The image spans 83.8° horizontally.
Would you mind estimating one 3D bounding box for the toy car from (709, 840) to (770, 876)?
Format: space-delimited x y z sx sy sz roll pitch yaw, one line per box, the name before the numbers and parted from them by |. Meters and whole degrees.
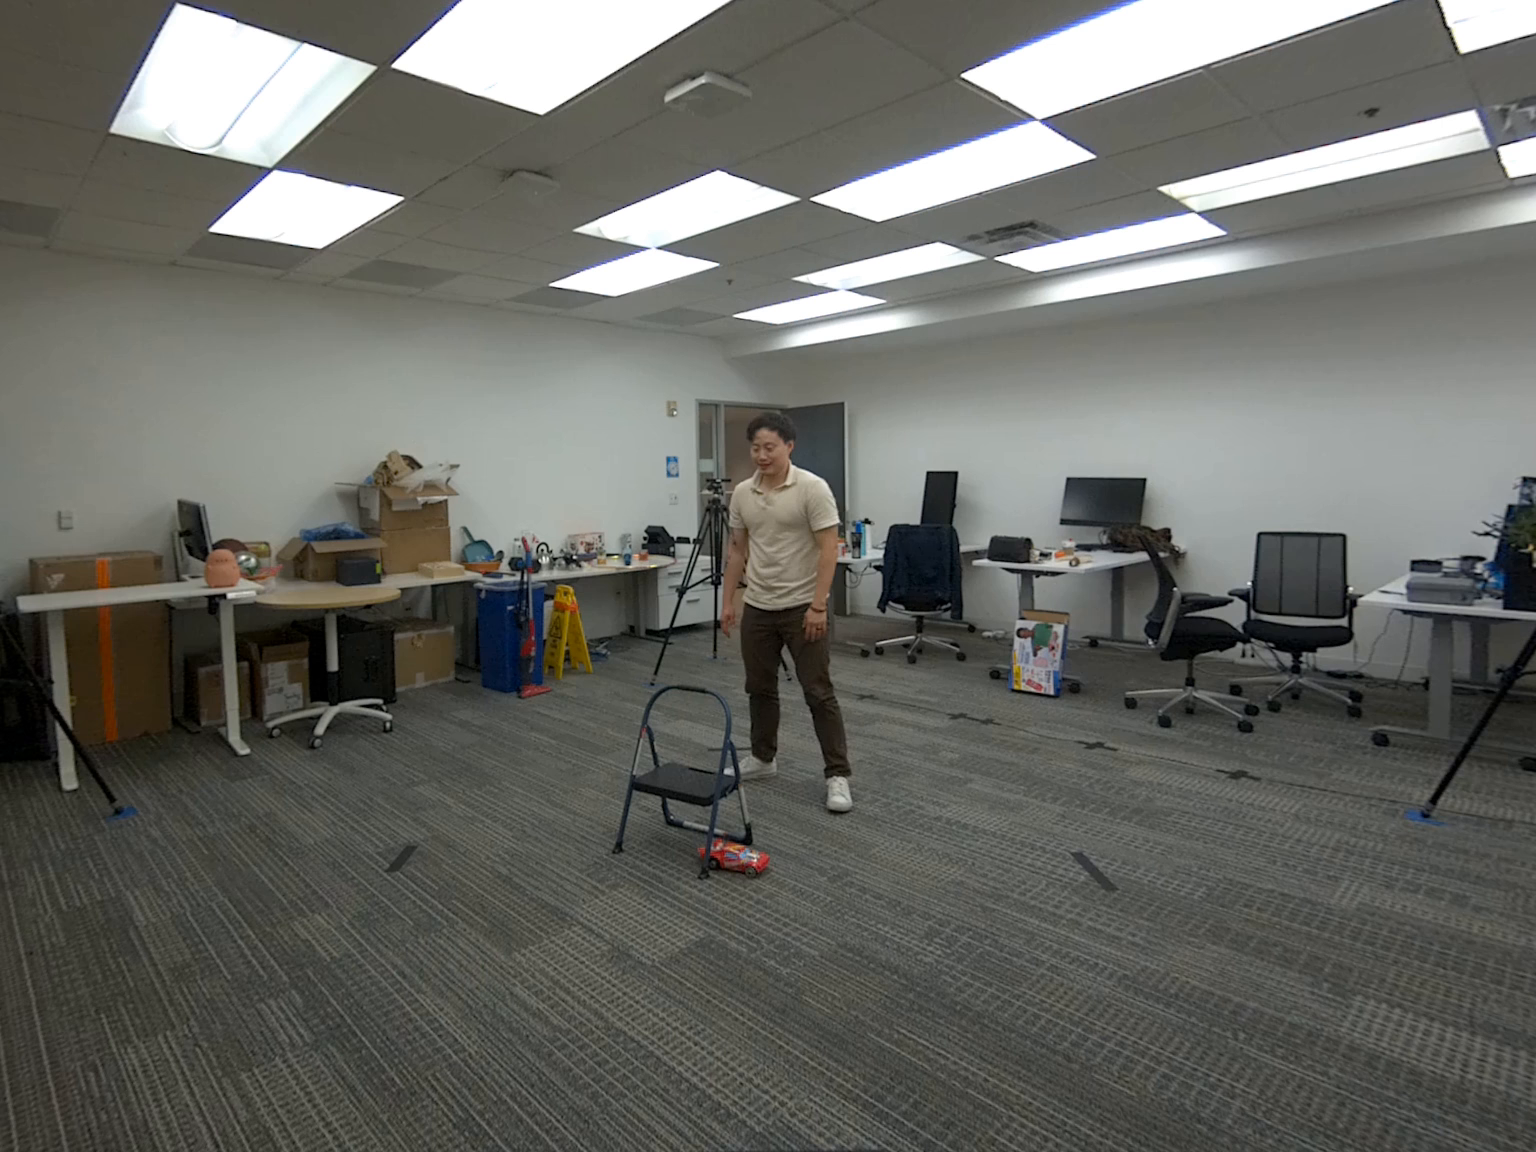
toy car | -0.121 1.020 3.076 0.261 0.082 0.128 13 12 26
